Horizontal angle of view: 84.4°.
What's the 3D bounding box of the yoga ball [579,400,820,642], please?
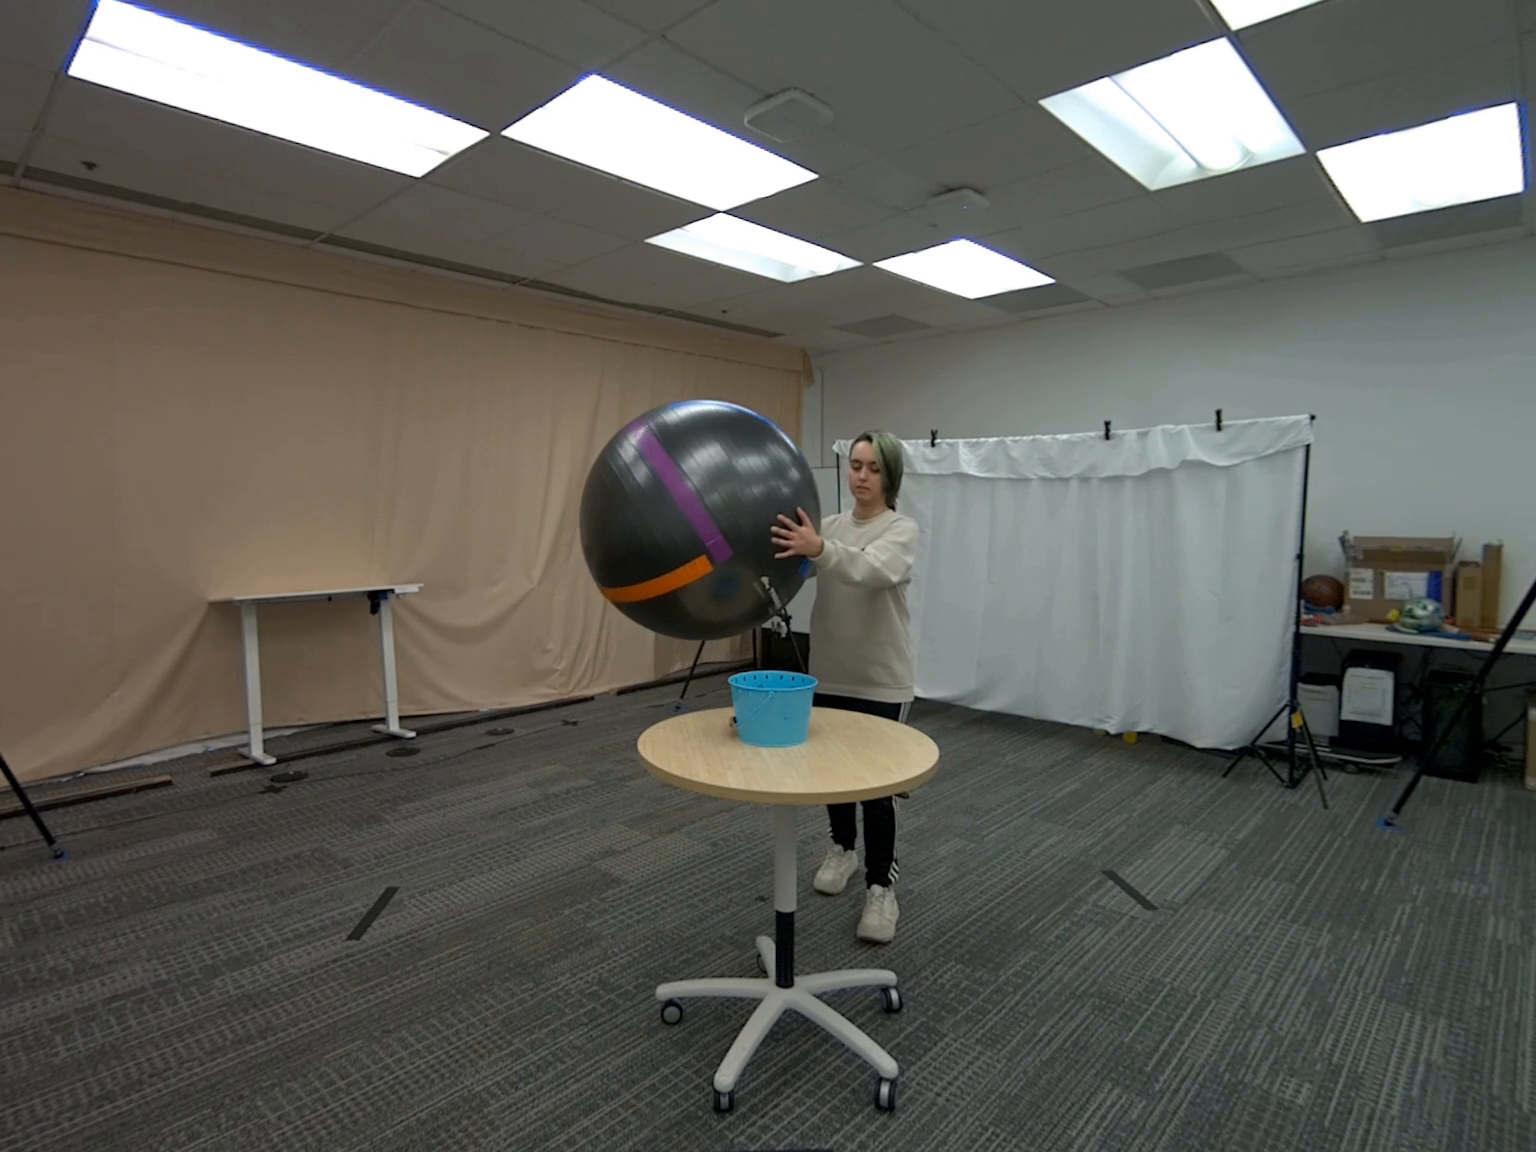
[{"bbox_3d":[-0.216,-0.167,2.654,0.757,0.756,0.760,0,4,-2],"label":"yoga ball"}]
